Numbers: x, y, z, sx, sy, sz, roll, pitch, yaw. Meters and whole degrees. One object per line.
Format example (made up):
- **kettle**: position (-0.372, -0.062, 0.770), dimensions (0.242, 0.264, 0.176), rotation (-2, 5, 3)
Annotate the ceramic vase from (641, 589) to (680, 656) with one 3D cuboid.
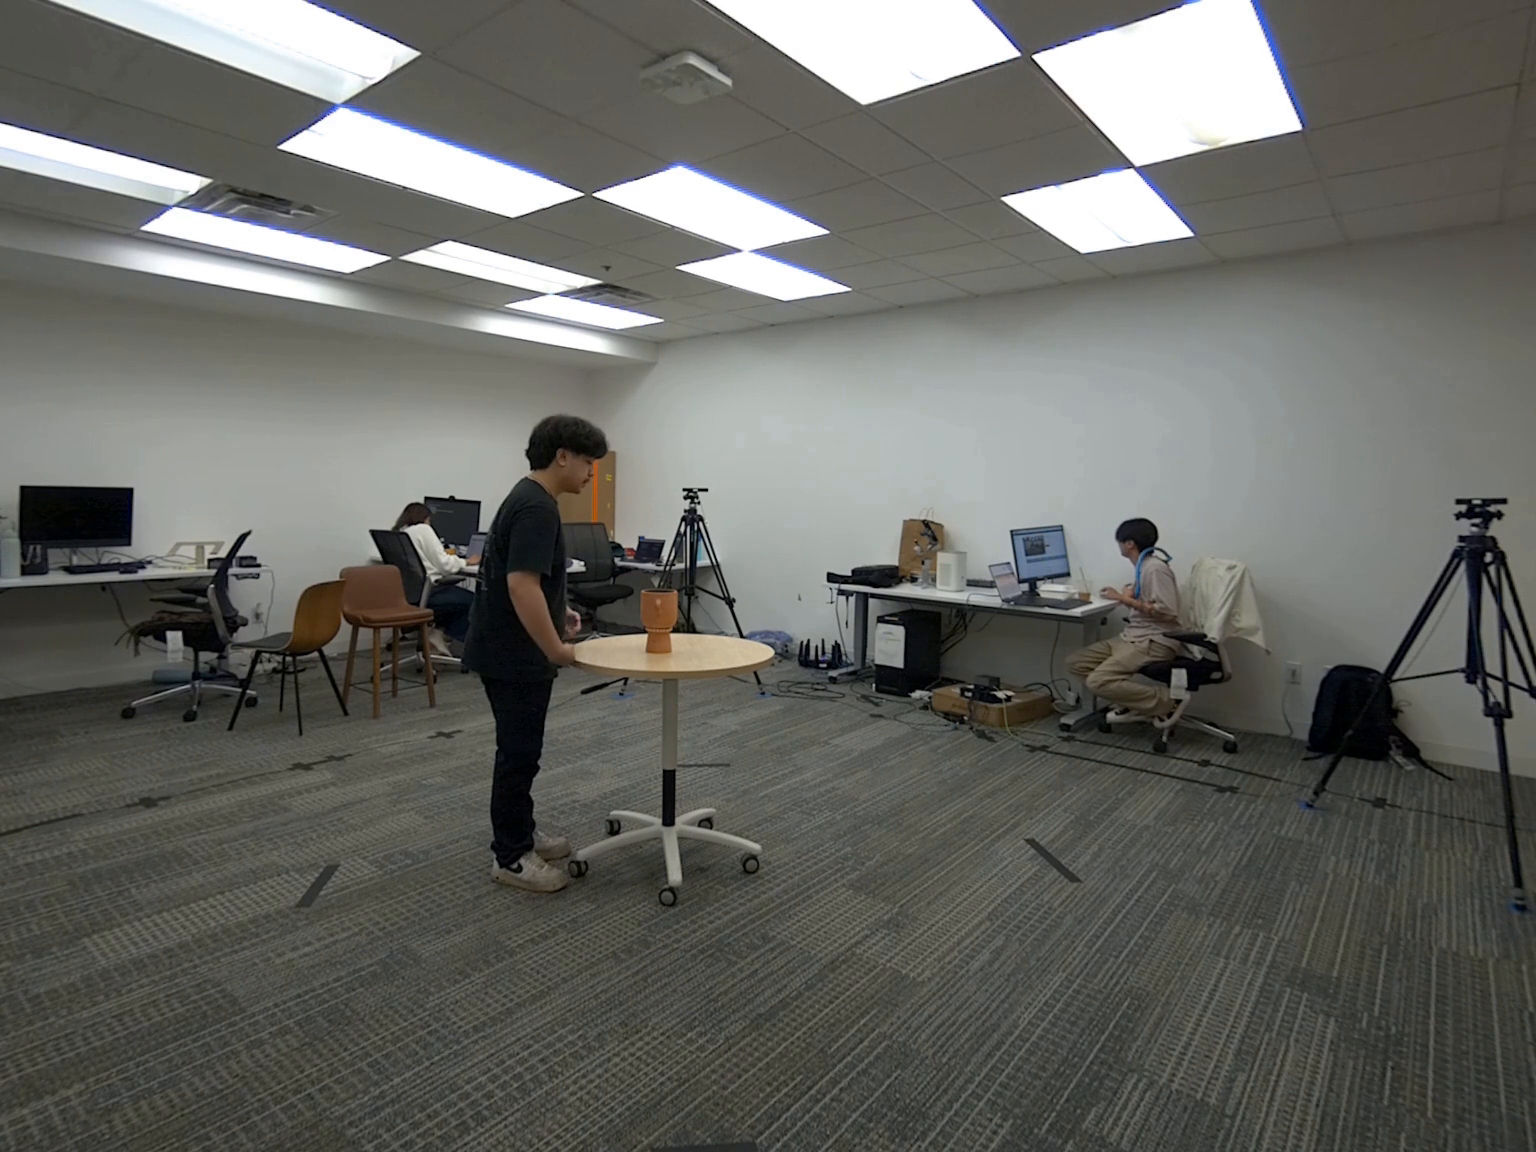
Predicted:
- **ceramic vase**: position (-0.417, 0.165, 3.110), dimensions (0.139, 0.219, 0.154), rotation (3, 3, 34)
